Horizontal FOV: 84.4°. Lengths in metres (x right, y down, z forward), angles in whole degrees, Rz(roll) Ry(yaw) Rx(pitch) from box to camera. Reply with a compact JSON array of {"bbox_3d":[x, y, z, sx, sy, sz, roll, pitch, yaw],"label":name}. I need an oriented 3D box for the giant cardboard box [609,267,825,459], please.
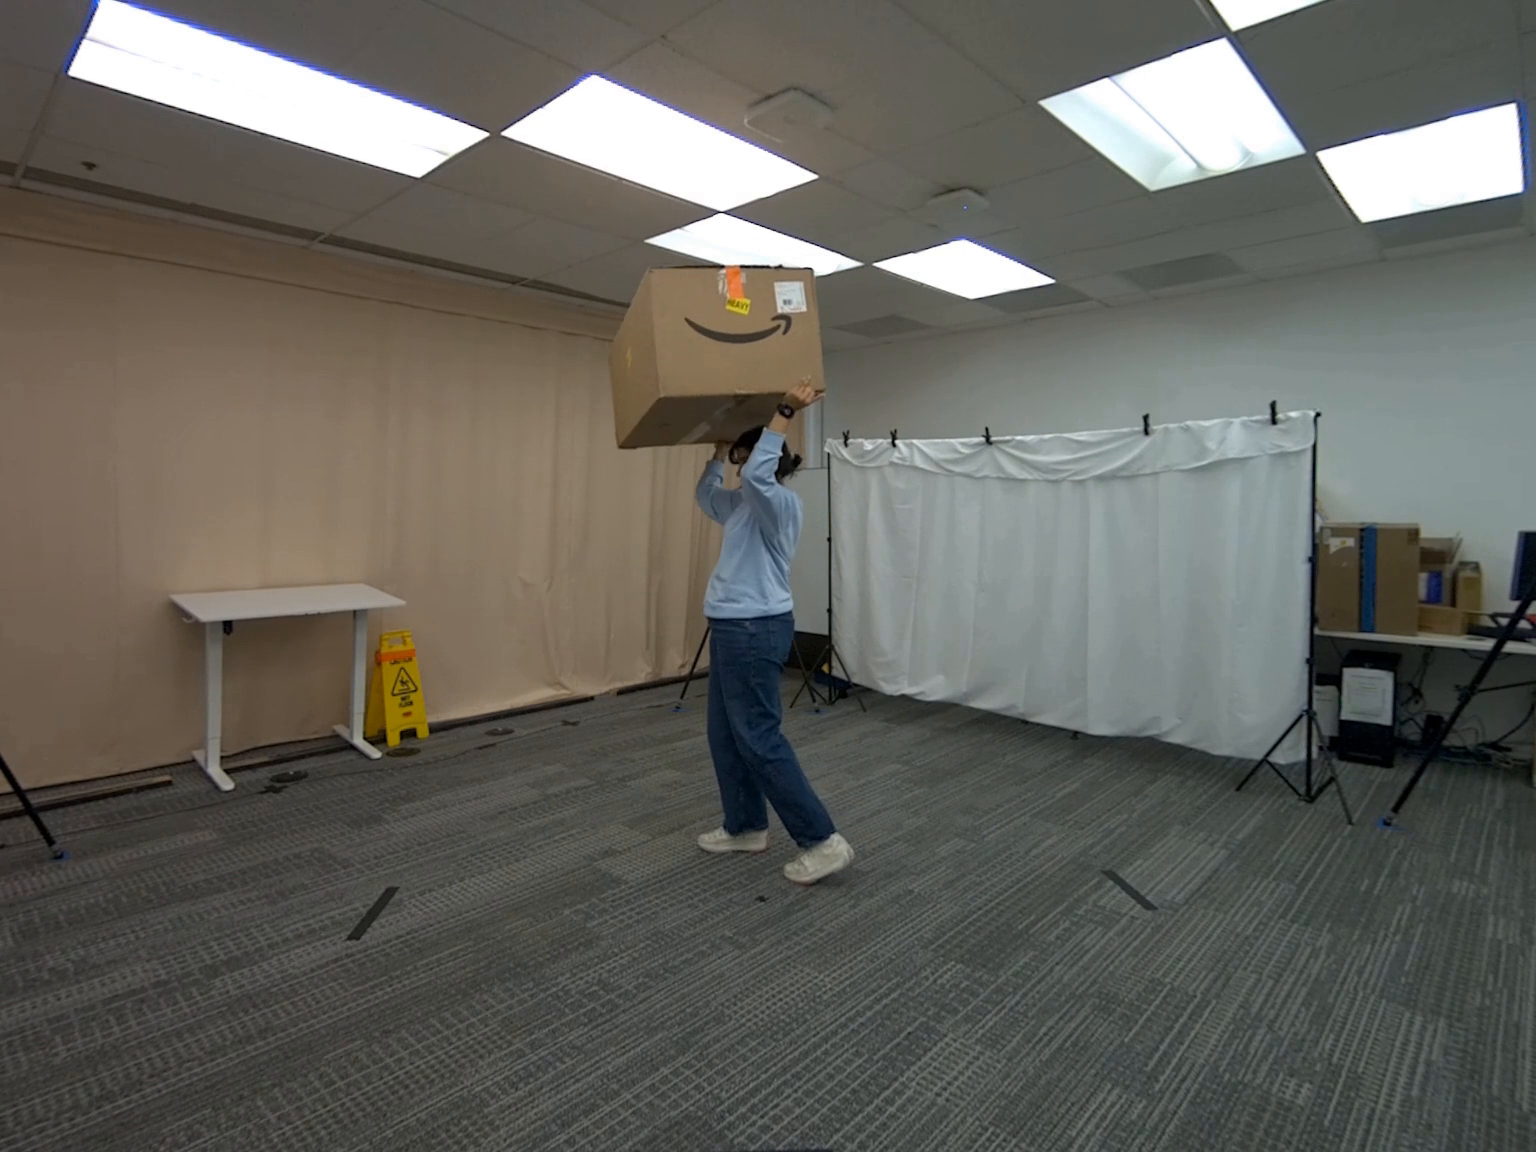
[{"bbox_3d":[-0.246,-0.790,3.248,0.568,0.426,1.042,-6,0,-17],"label":"giant cardboard box"}]
